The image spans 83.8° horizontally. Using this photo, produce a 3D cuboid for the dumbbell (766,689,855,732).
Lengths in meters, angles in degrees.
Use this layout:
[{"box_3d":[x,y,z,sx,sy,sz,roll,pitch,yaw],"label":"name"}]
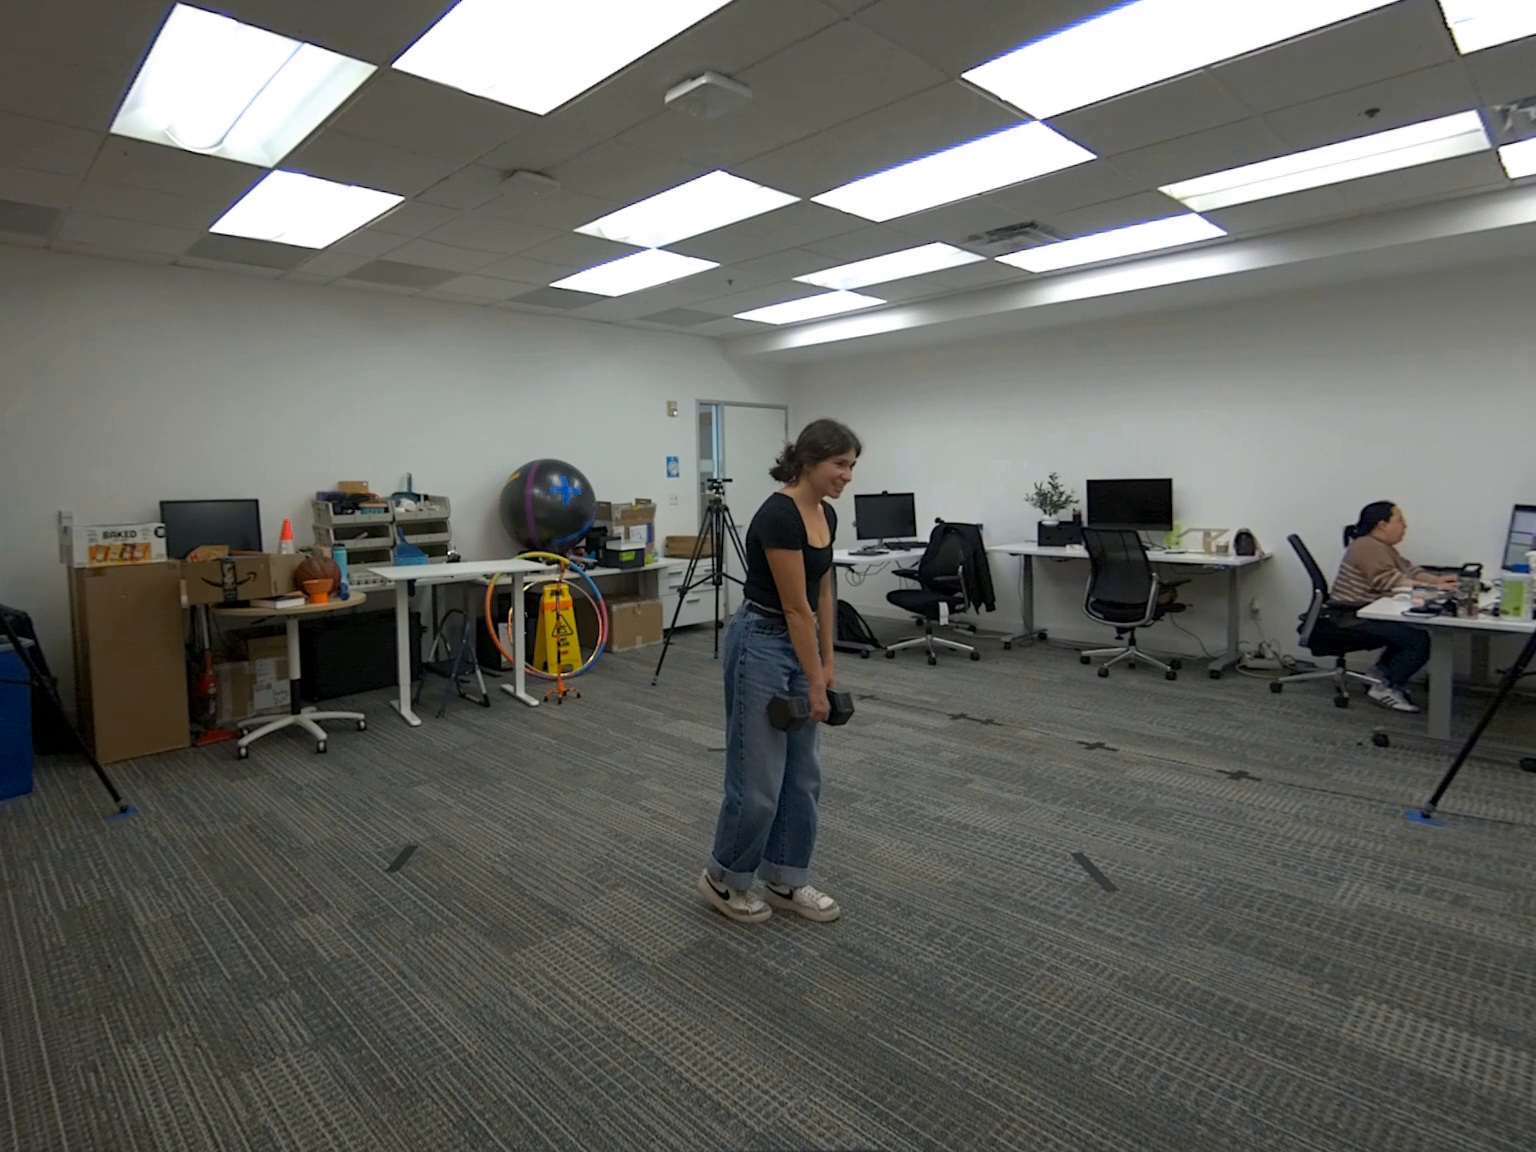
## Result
[{"box_3d":[0.129,0.409,2.624,0.285,0.122,0.113,3,38,-44],"label":"dumbbell"}]
